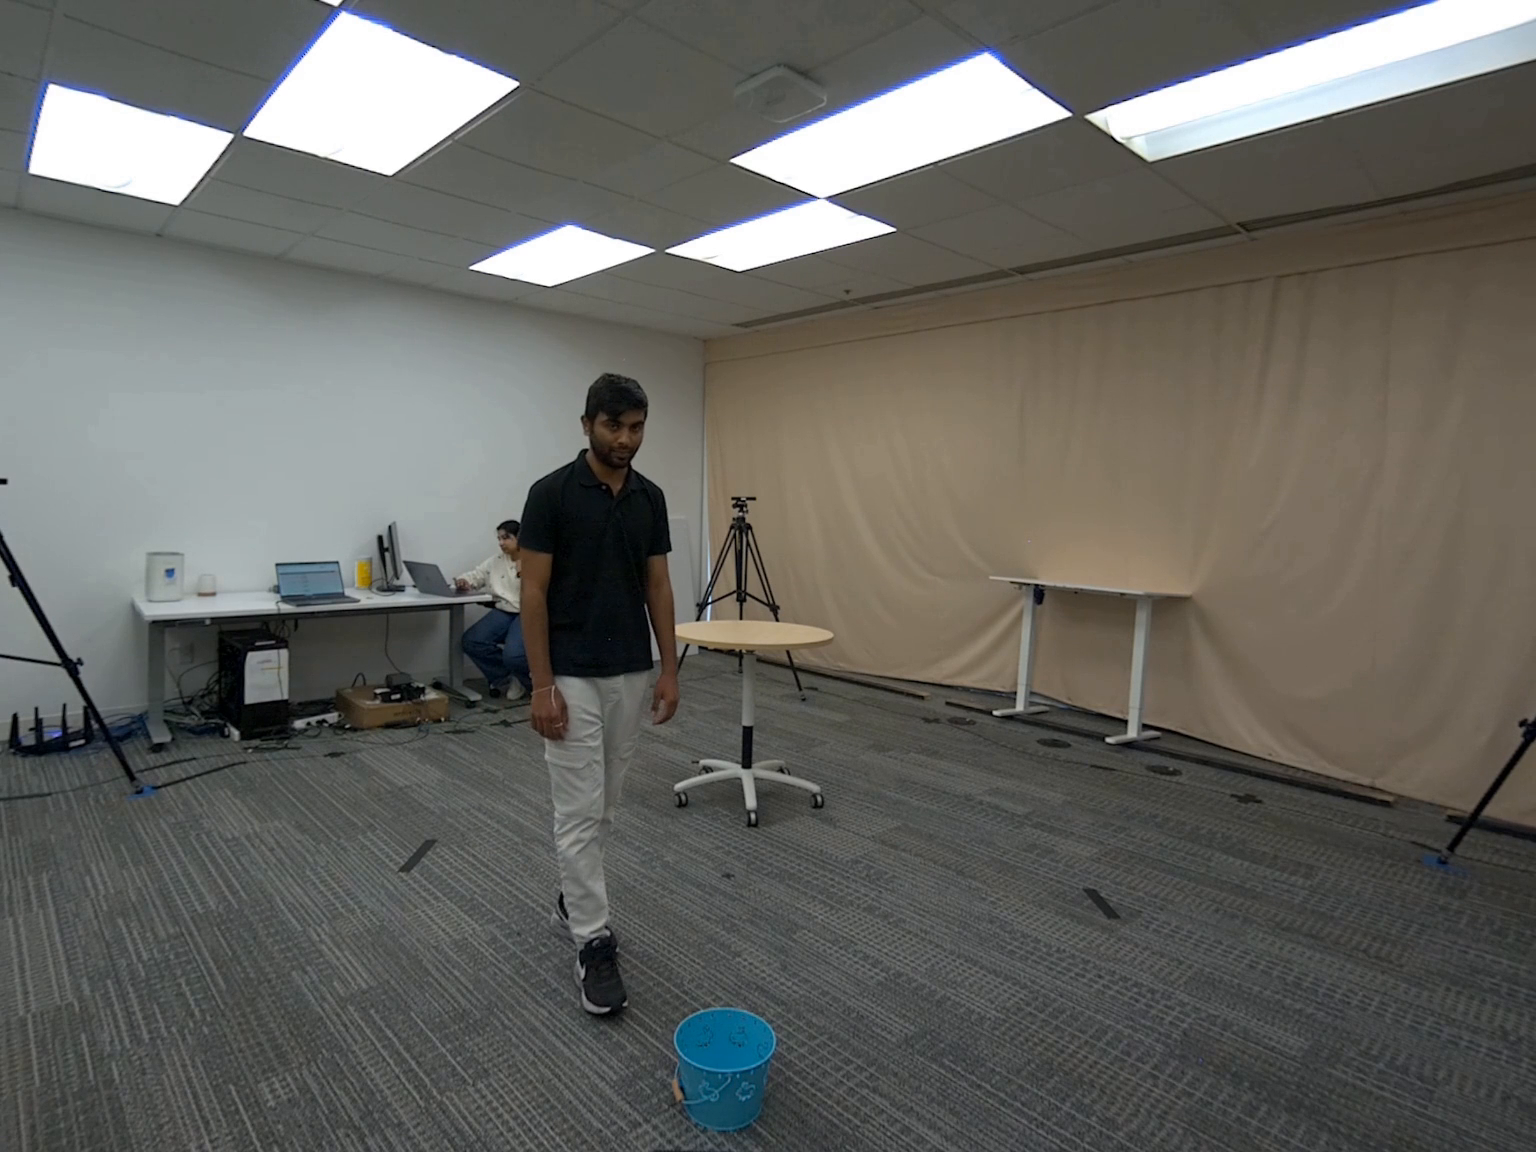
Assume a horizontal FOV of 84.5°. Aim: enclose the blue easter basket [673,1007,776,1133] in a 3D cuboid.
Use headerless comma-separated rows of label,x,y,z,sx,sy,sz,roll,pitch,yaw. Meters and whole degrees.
blue easter basket,-0.116,1.142,1.939,0.243,0.155,0.244,2,4,-2
